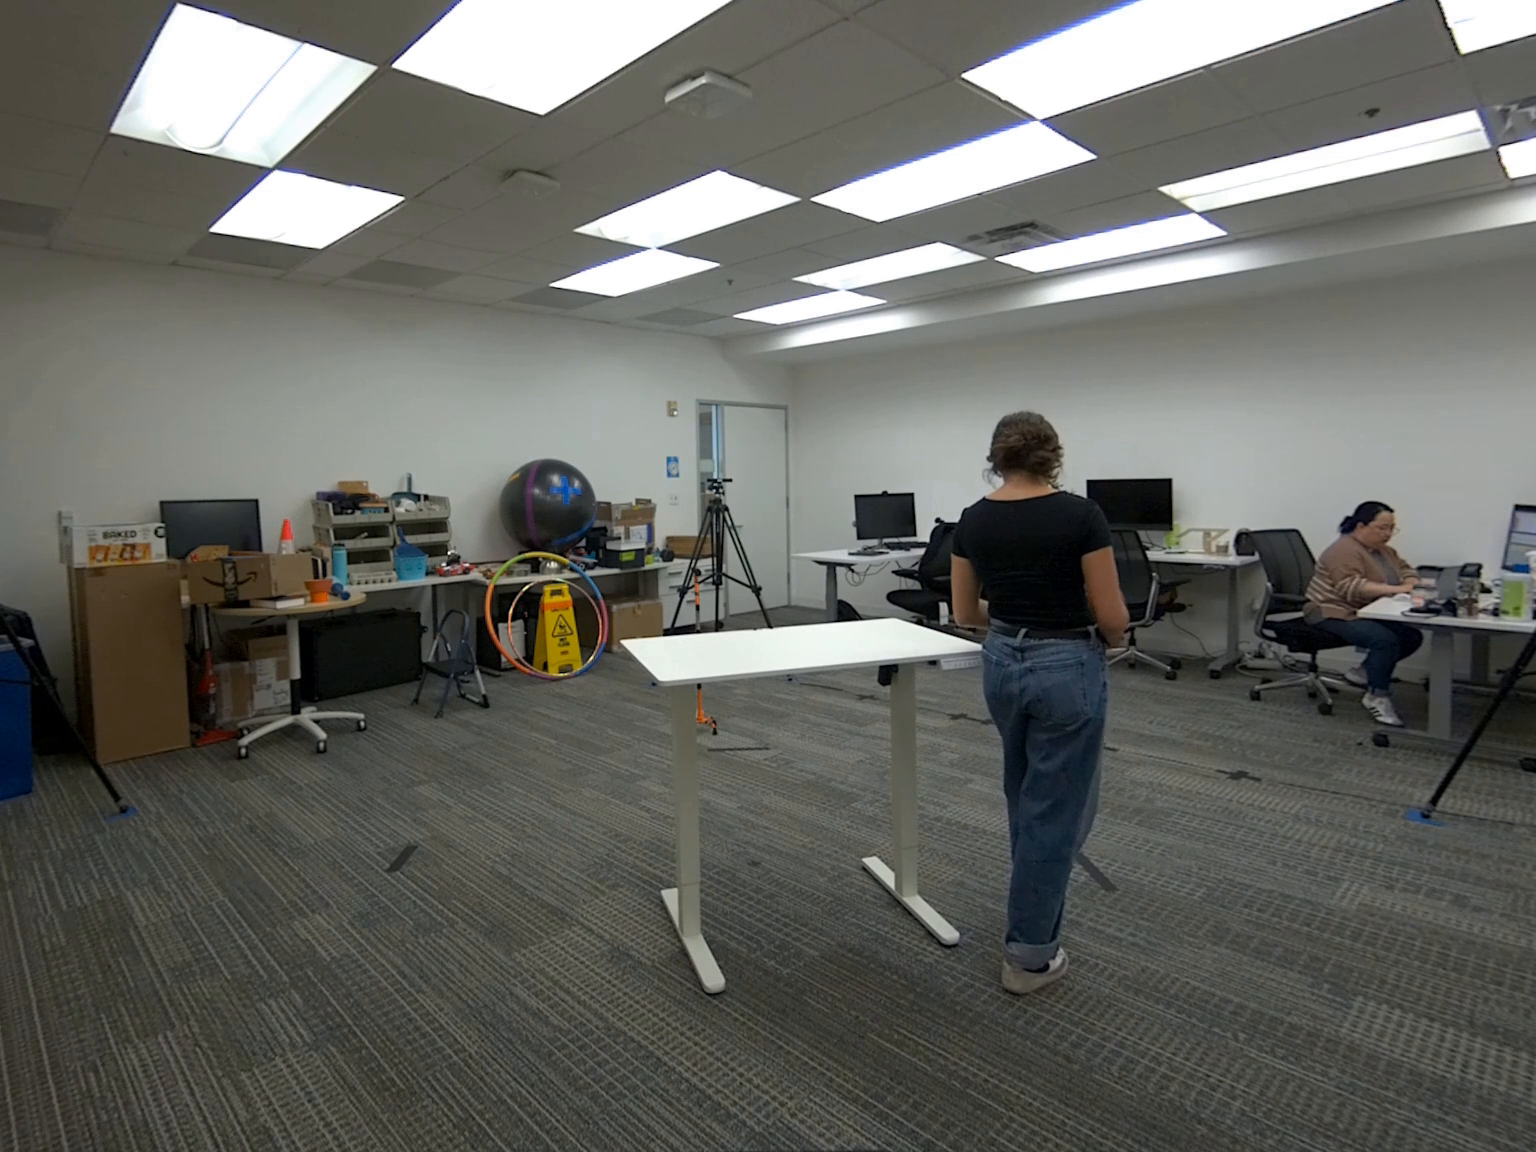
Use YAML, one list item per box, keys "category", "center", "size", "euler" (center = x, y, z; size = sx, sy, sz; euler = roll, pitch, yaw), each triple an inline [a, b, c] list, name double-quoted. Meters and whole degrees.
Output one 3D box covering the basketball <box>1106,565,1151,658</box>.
- category: "basketball"
  center: [0.942, 0.097, 2.515]
  size: [0.236, 0.235, 0.237]
  euler: [-1, 5, -2]
